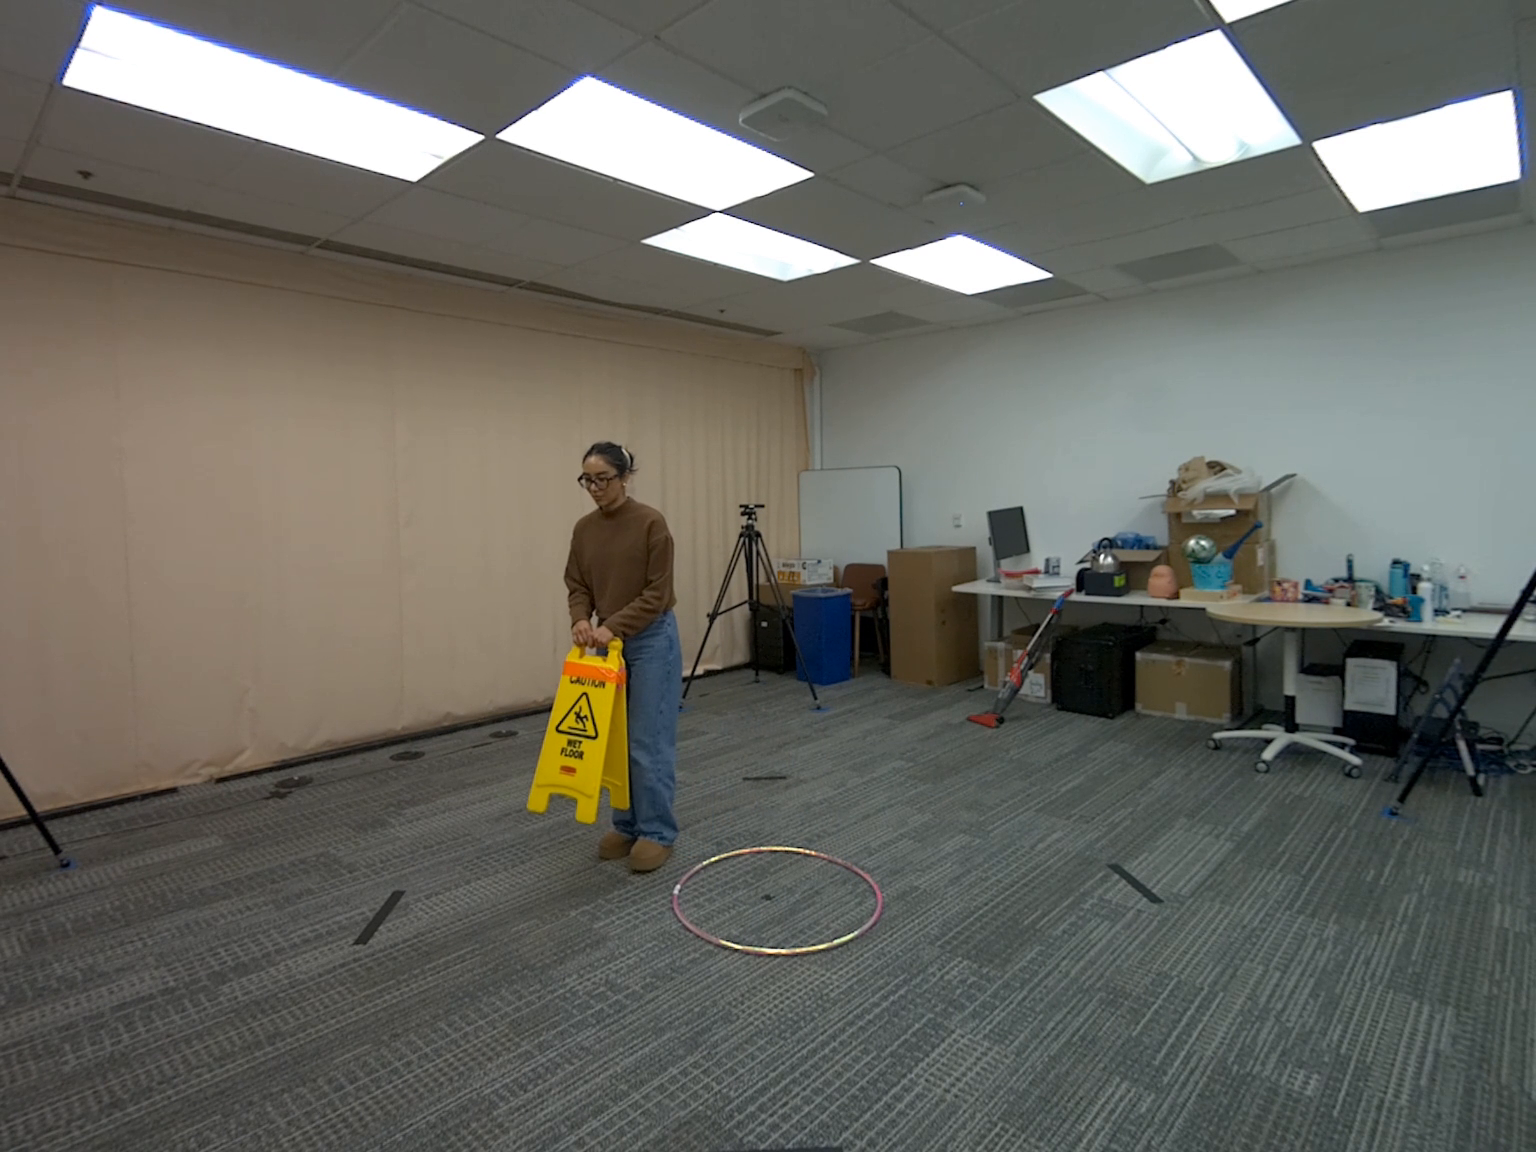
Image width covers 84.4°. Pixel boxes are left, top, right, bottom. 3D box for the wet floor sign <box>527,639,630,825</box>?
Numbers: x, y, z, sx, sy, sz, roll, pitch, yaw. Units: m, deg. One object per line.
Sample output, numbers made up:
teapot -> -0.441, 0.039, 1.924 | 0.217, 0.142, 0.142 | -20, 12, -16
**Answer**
wet floor sign -> -0.658, 0.540, 3.123 | 0.288, 0.647, 0.283 | 3, -3, 20
